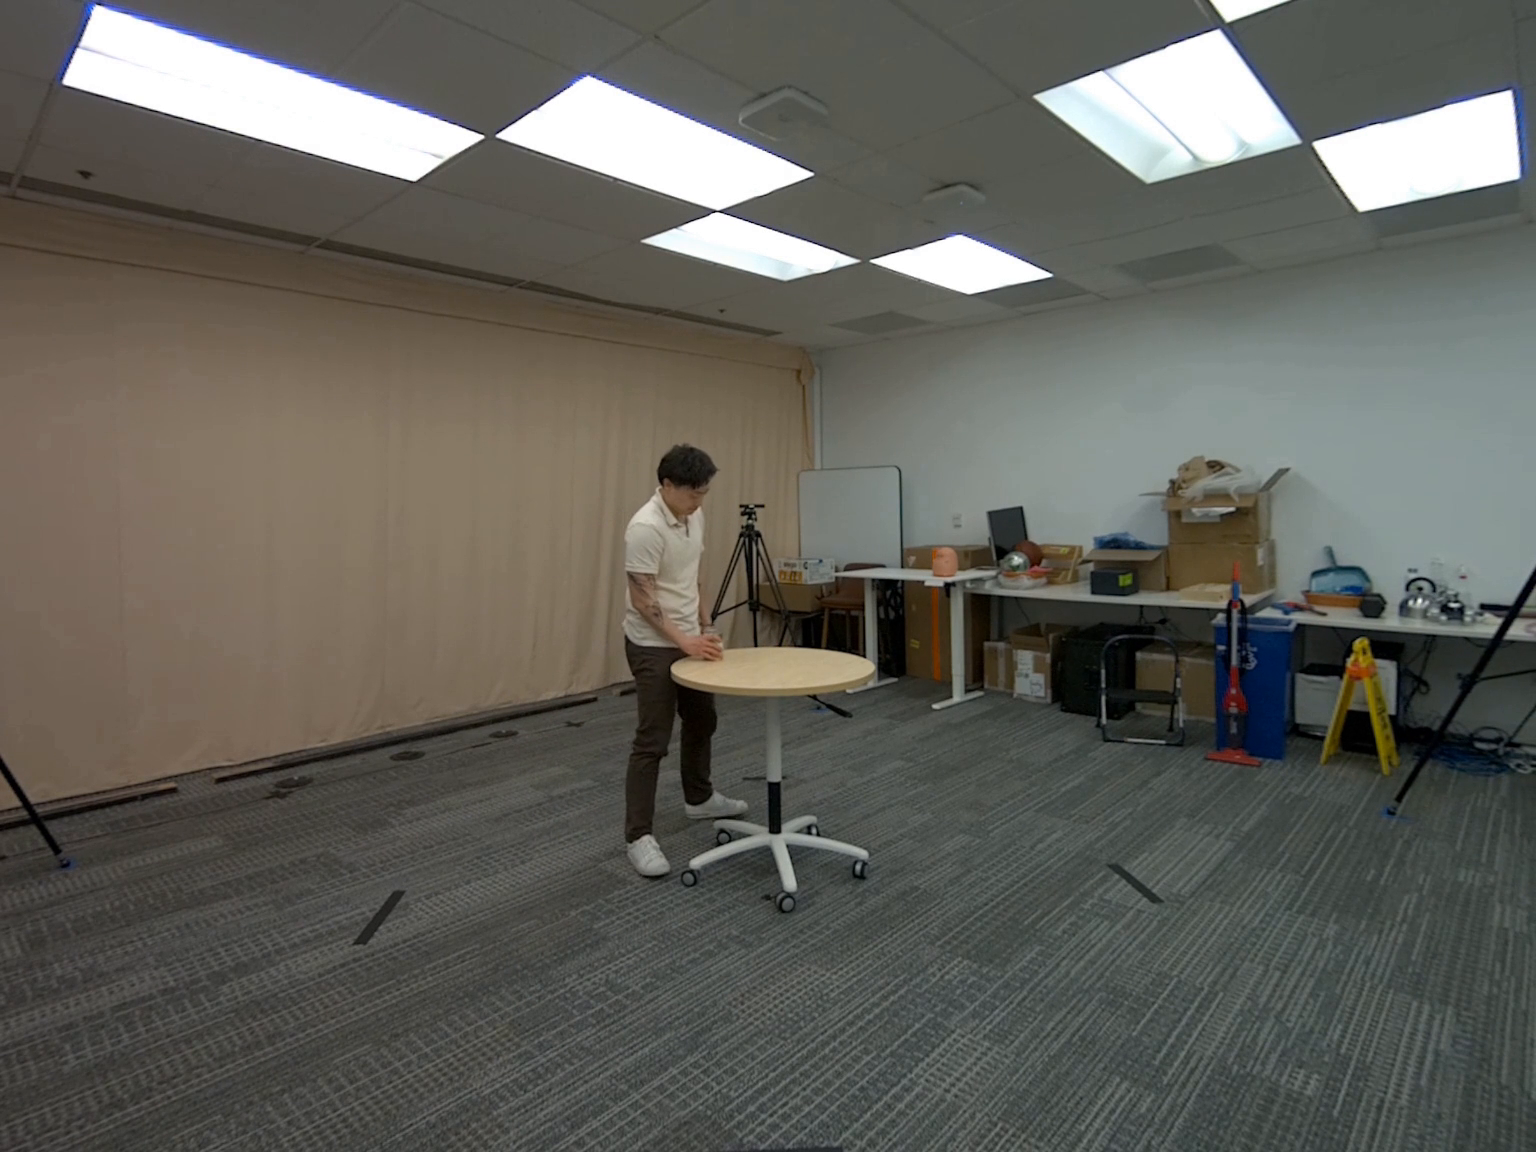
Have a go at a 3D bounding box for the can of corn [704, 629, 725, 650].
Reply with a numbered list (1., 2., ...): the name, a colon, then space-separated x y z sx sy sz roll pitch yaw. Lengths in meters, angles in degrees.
1. can of corn: -0.217 0.274 3.321 0.074 0.111 0.074 -4 2 -2
